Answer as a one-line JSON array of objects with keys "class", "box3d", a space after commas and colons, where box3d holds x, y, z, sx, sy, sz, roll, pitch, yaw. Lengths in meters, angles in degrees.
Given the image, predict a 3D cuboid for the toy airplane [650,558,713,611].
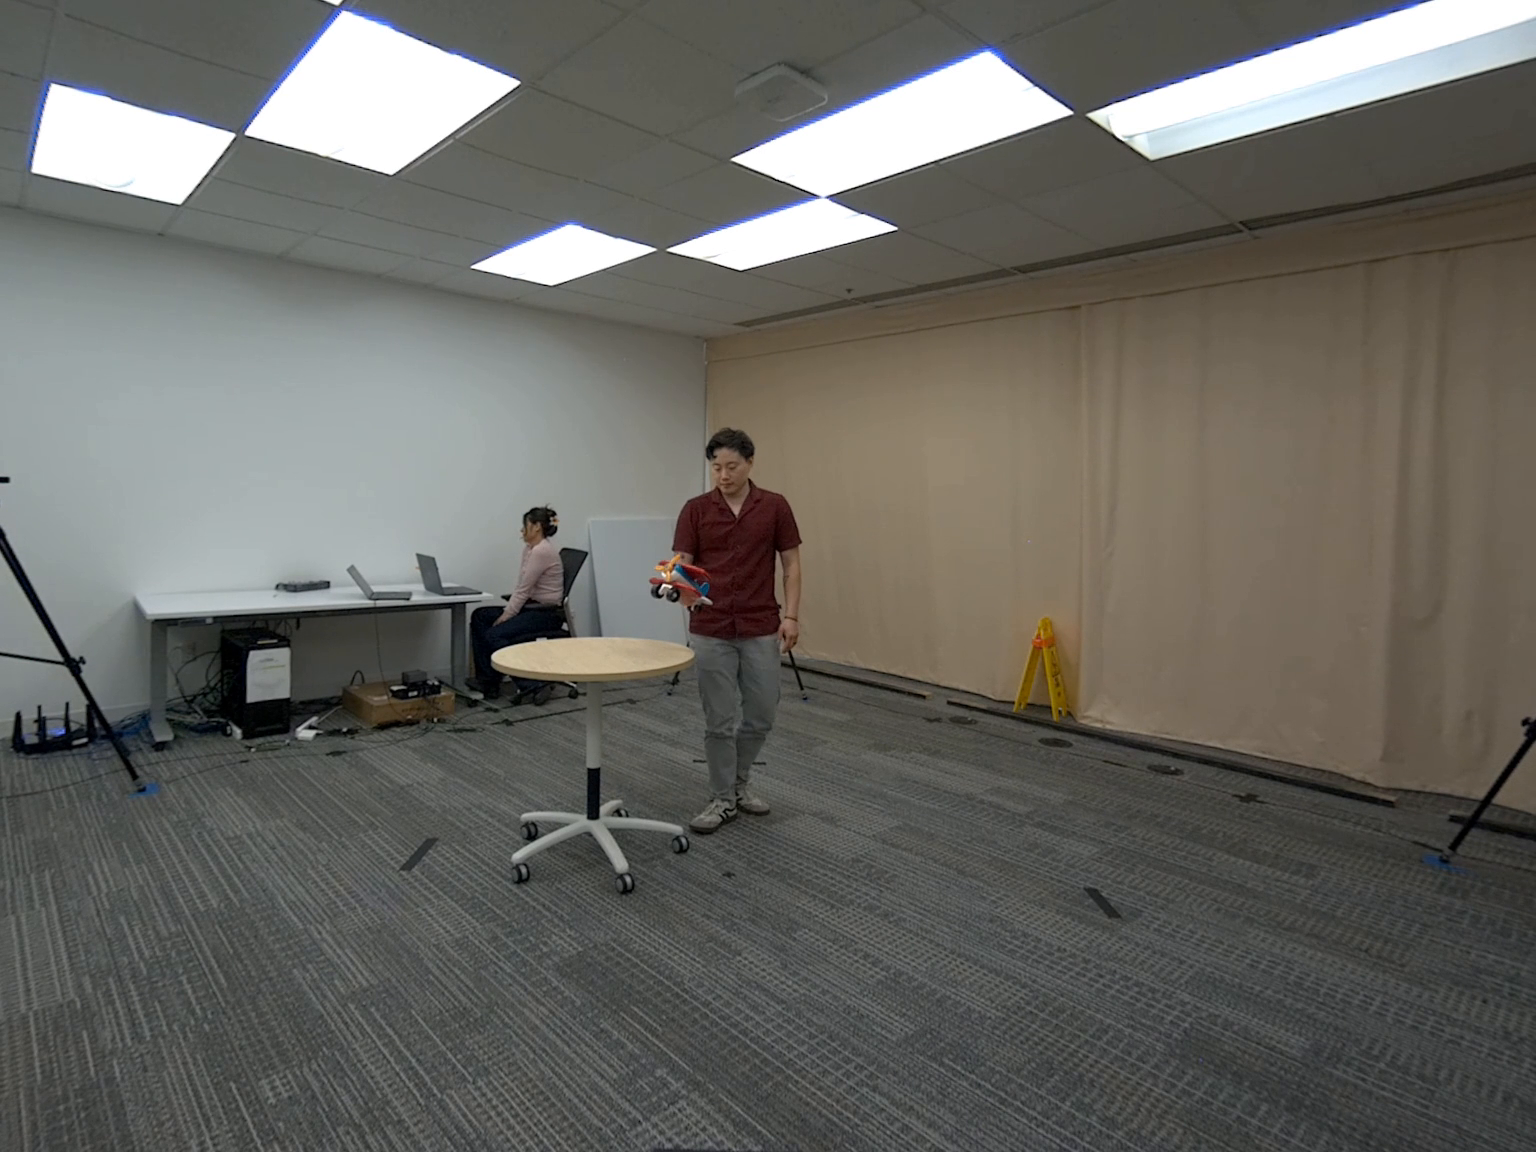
[{"class": "toy airplane", "box3d": [-0.354, 0.038, 3.267, 0.255, 0.157, 0.254, 15, -9, 14]}]
